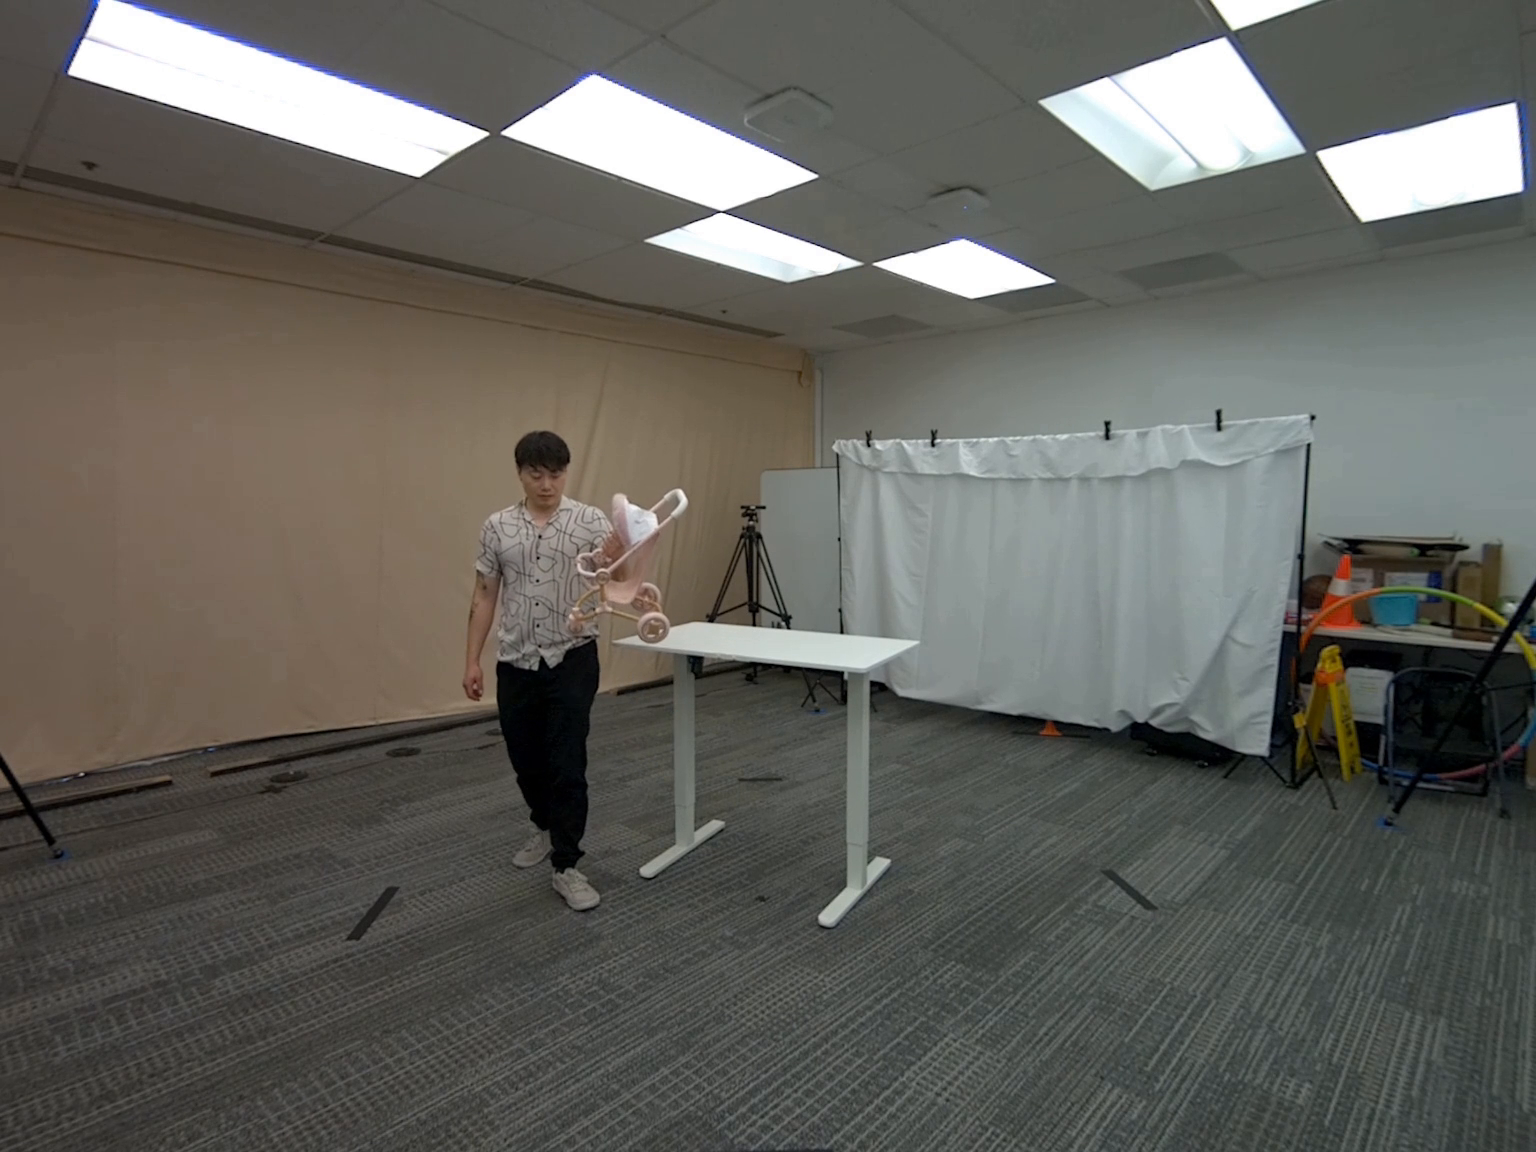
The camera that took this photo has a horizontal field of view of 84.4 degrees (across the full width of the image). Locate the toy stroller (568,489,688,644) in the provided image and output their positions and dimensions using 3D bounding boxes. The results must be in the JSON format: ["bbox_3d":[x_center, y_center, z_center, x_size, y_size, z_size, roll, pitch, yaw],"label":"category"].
[{"bbox_3d":[-0.479,-0.034,2.782,0.337,0.531,0.287,7,20,-11],"label":"toy stroller"}]
